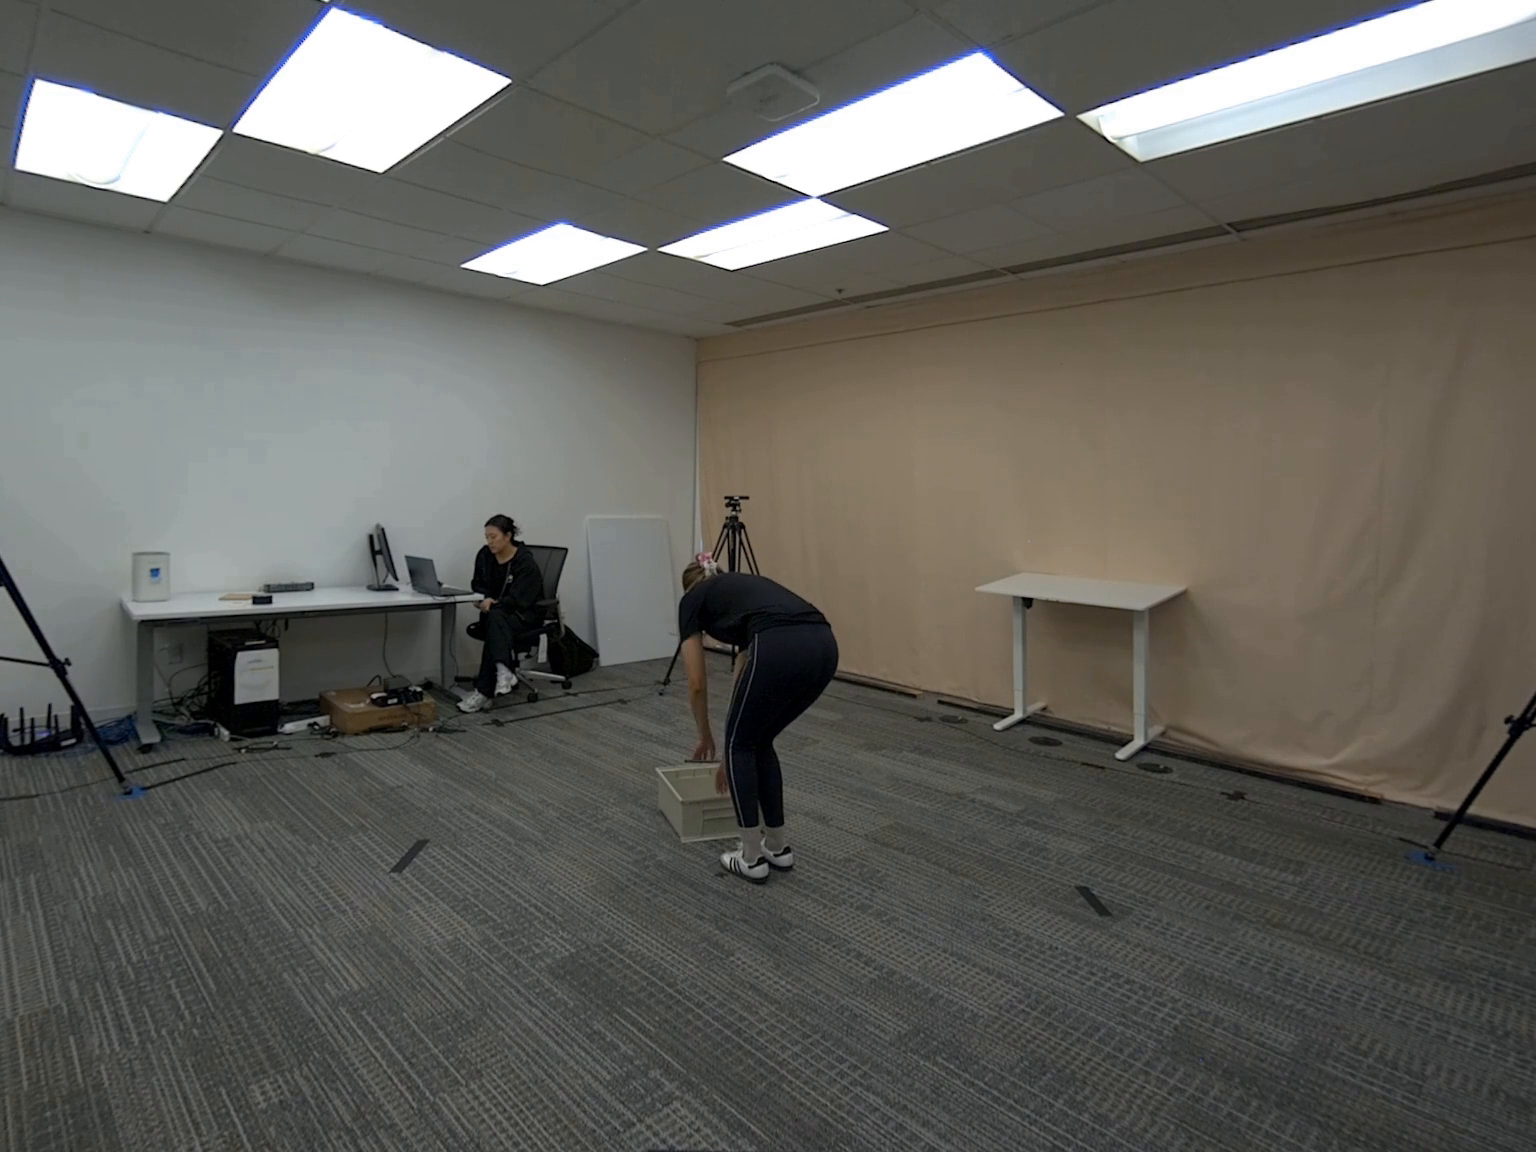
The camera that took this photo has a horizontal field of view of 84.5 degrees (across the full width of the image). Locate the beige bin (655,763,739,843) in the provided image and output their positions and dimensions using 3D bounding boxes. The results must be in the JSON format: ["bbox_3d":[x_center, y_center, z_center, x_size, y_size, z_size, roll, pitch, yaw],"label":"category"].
[{"bbox_3d":[-0.262,0.961,3.625,0.372,0.188,0.430,-2,7,-21],"label":"beige bin"}]
